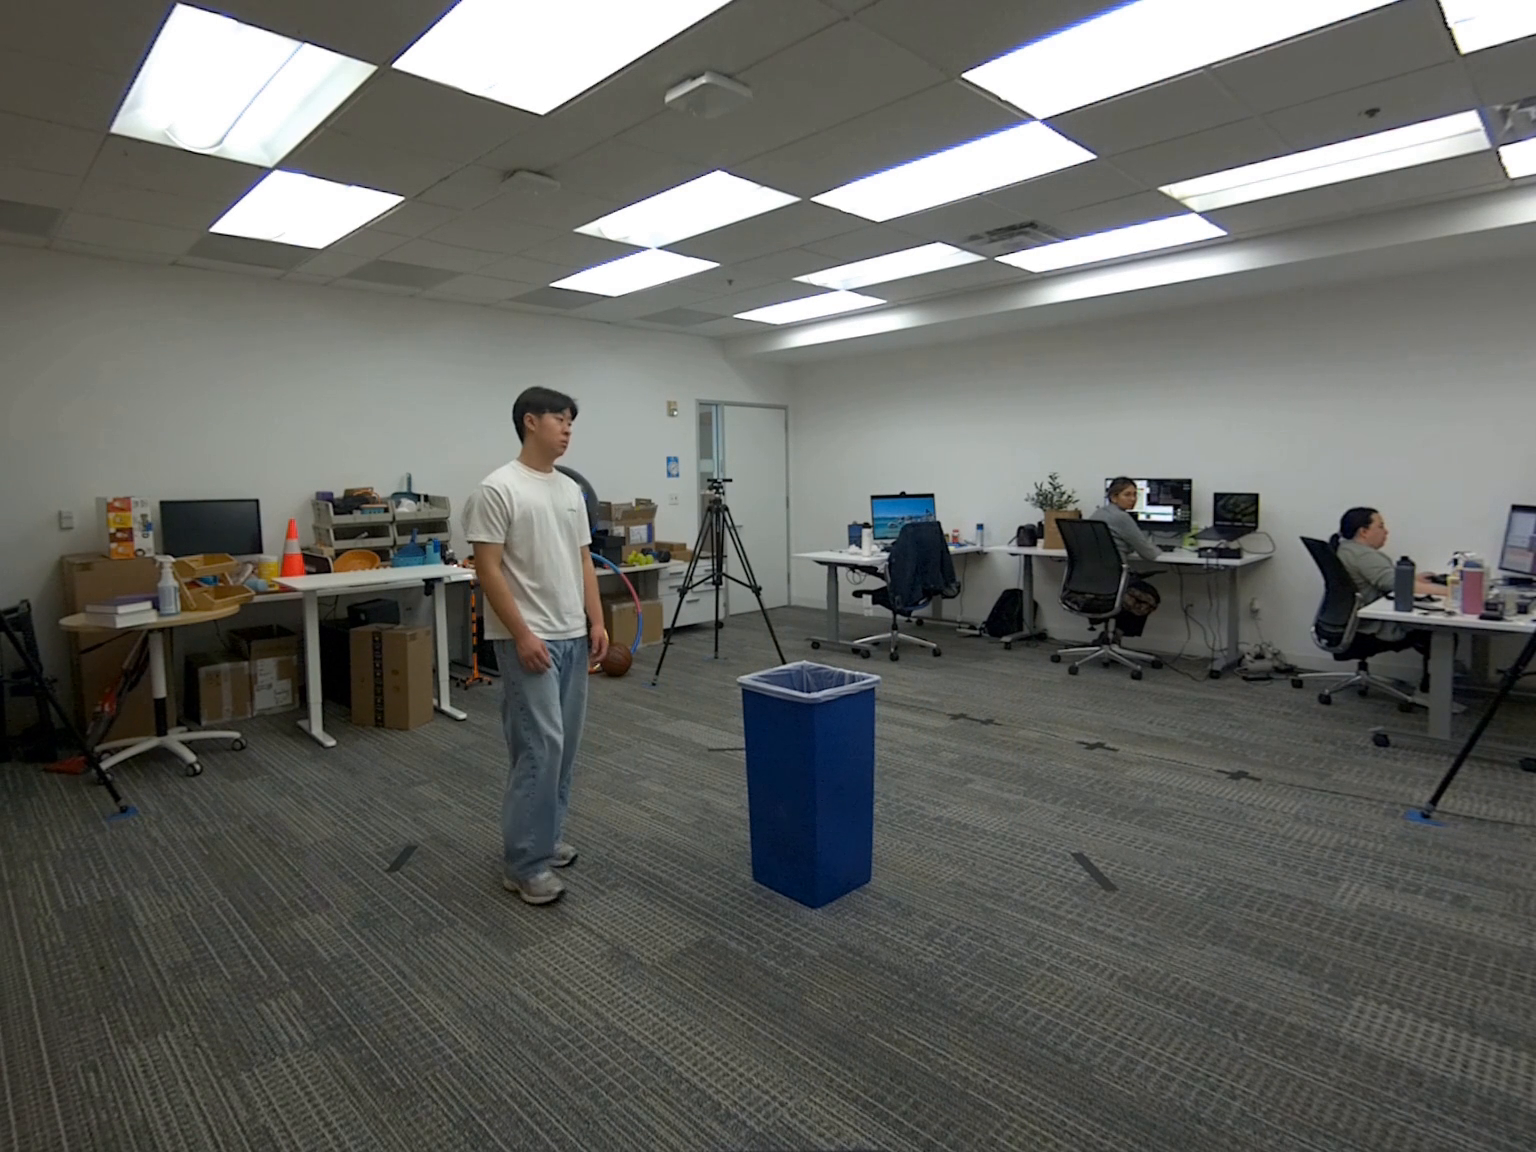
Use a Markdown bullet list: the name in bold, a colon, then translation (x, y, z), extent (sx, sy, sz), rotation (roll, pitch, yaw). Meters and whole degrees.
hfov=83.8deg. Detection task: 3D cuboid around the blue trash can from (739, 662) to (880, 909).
- **blue trash can**: translation (0.144, 0.698, 2.941), extent (0.364, 0.711, 0.389), rotation (-4, 5, -44)
